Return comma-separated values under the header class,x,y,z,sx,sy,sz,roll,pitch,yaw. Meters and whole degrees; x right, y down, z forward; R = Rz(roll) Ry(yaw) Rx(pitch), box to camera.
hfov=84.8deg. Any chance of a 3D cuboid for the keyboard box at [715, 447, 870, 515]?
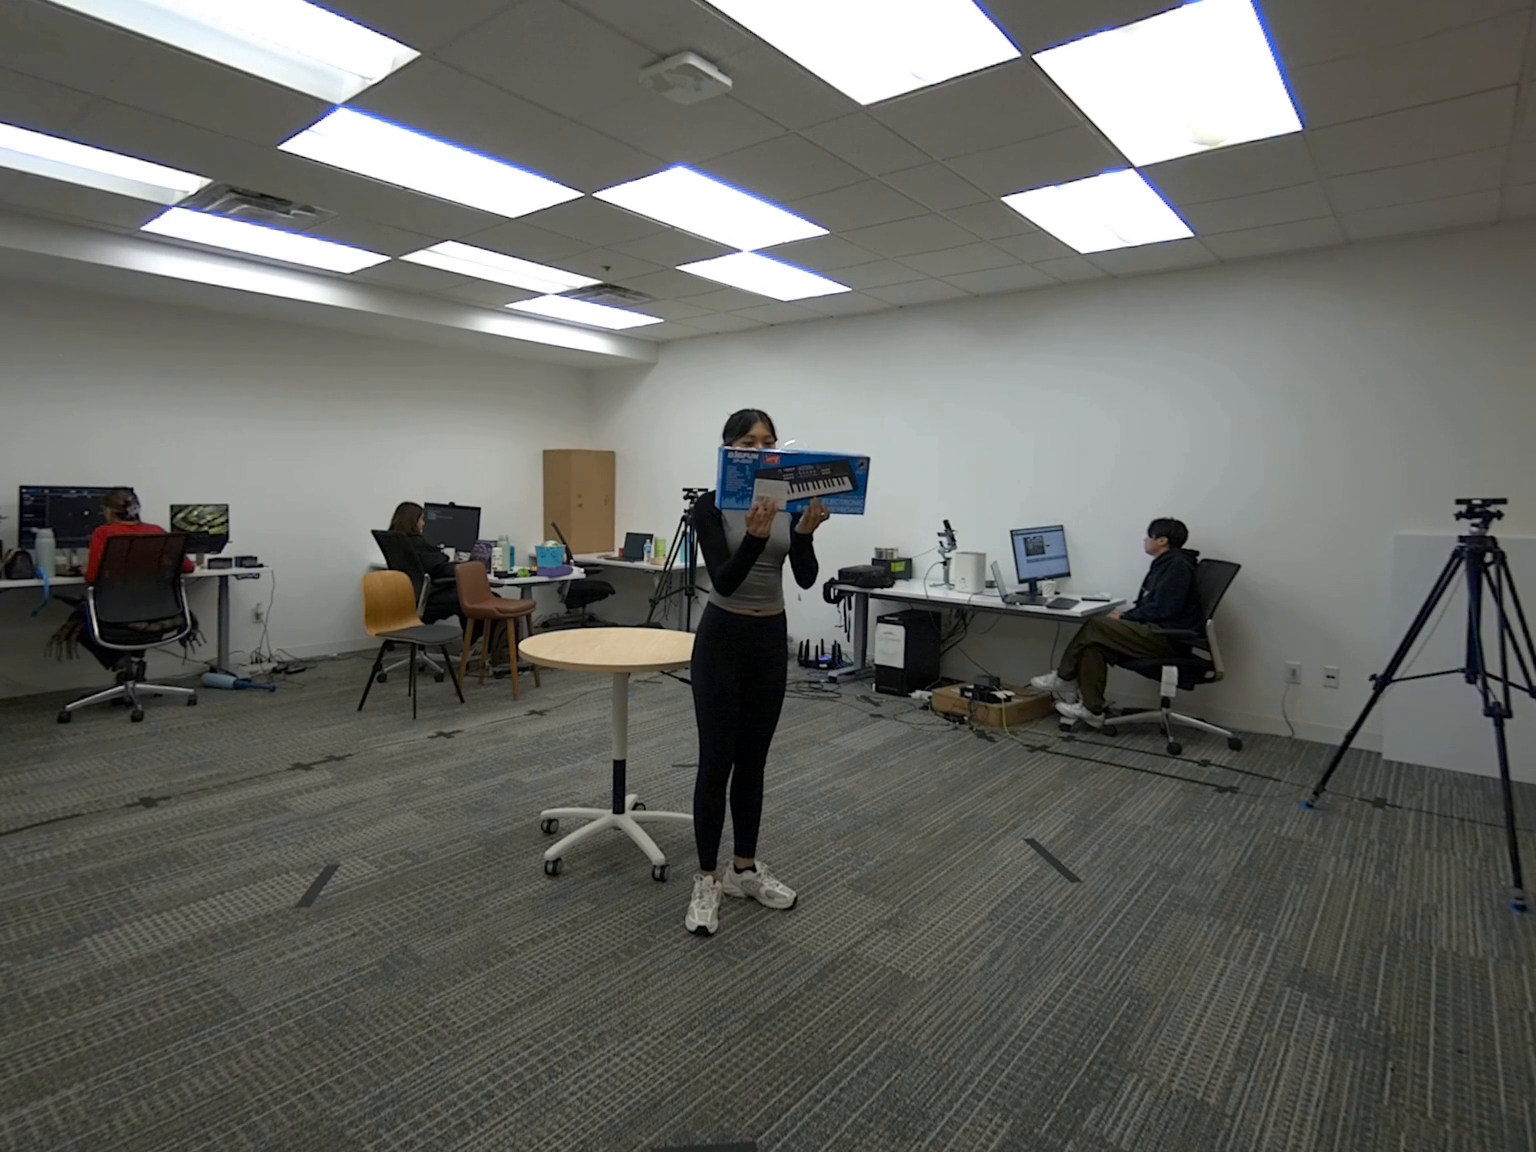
class,x,y,z,sx,sy,sz,roll,pitch,yaw
keyboard box,0.065,-0.274,2.437,0.430,0.174,0.060,2,12,-15
